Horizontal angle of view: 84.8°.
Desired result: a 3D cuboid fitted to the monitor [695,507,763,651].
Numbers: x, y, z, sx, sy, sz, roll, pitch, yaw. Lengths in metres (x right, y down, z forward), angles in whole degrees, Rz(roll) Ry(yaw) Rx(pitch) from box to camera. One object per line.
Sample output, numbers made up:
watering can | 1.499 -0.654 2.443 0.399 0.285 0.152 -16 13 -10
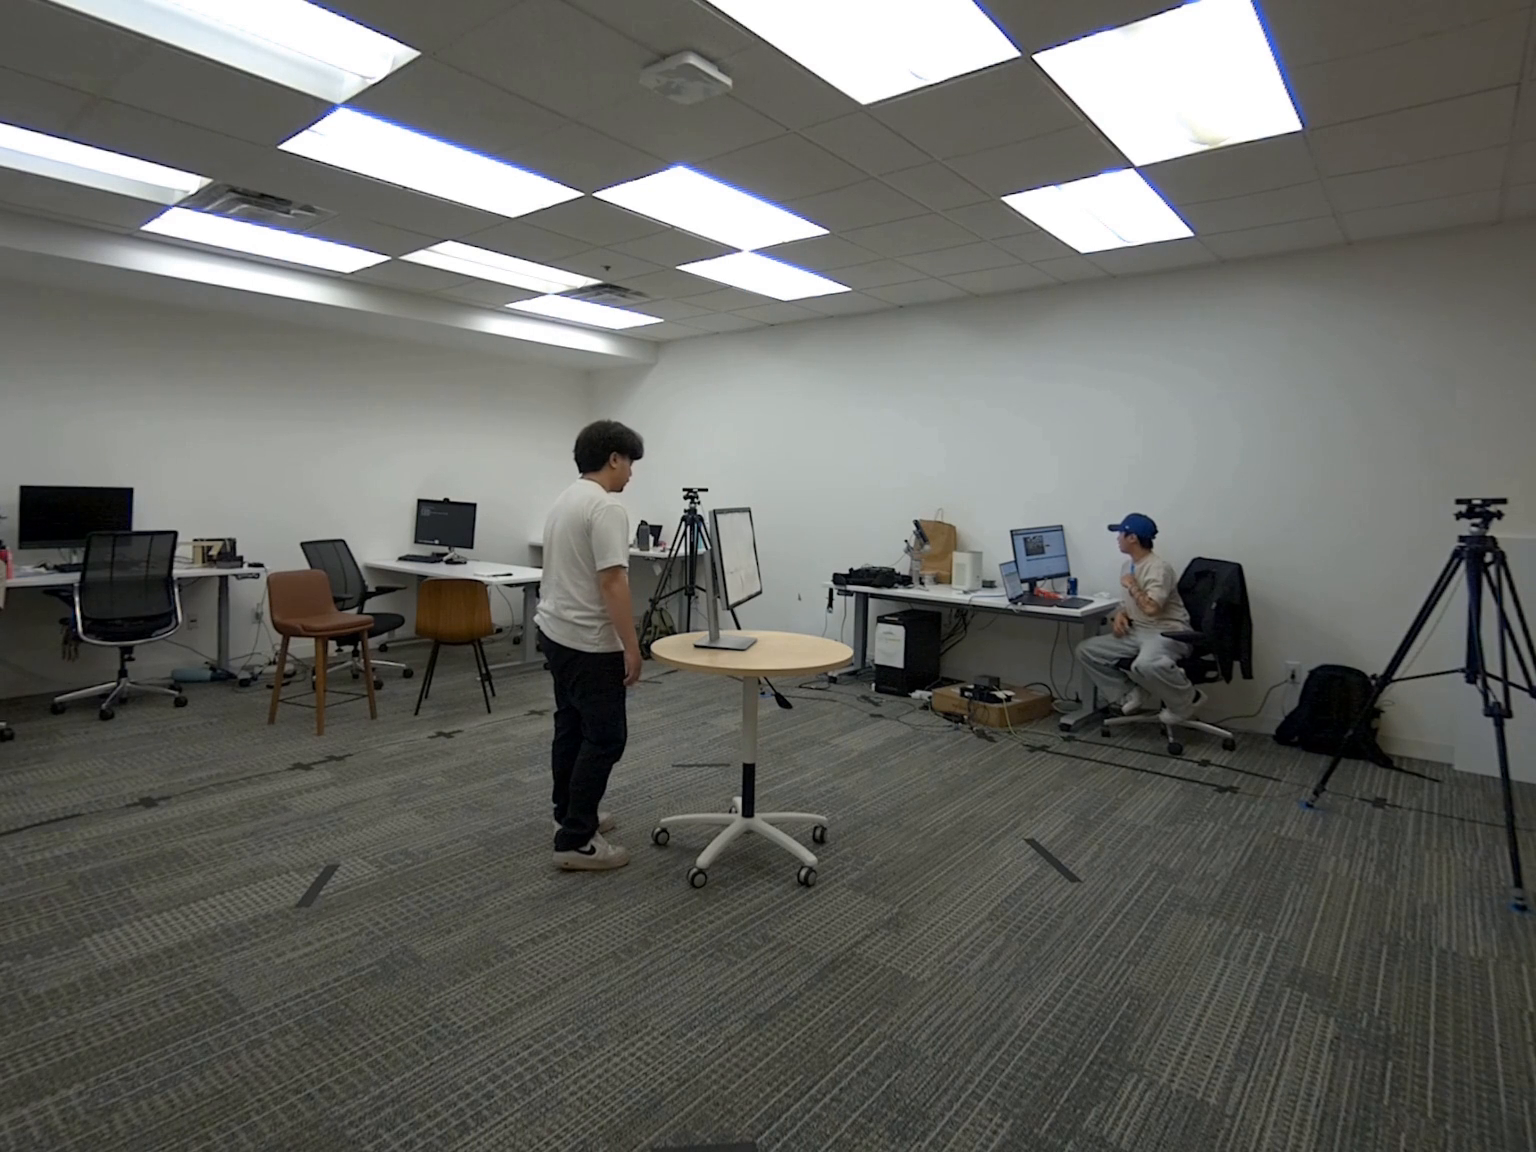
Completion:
monitor | -0.192 0.007 3.302 0.213 0.553 0.559 -2 3 13
